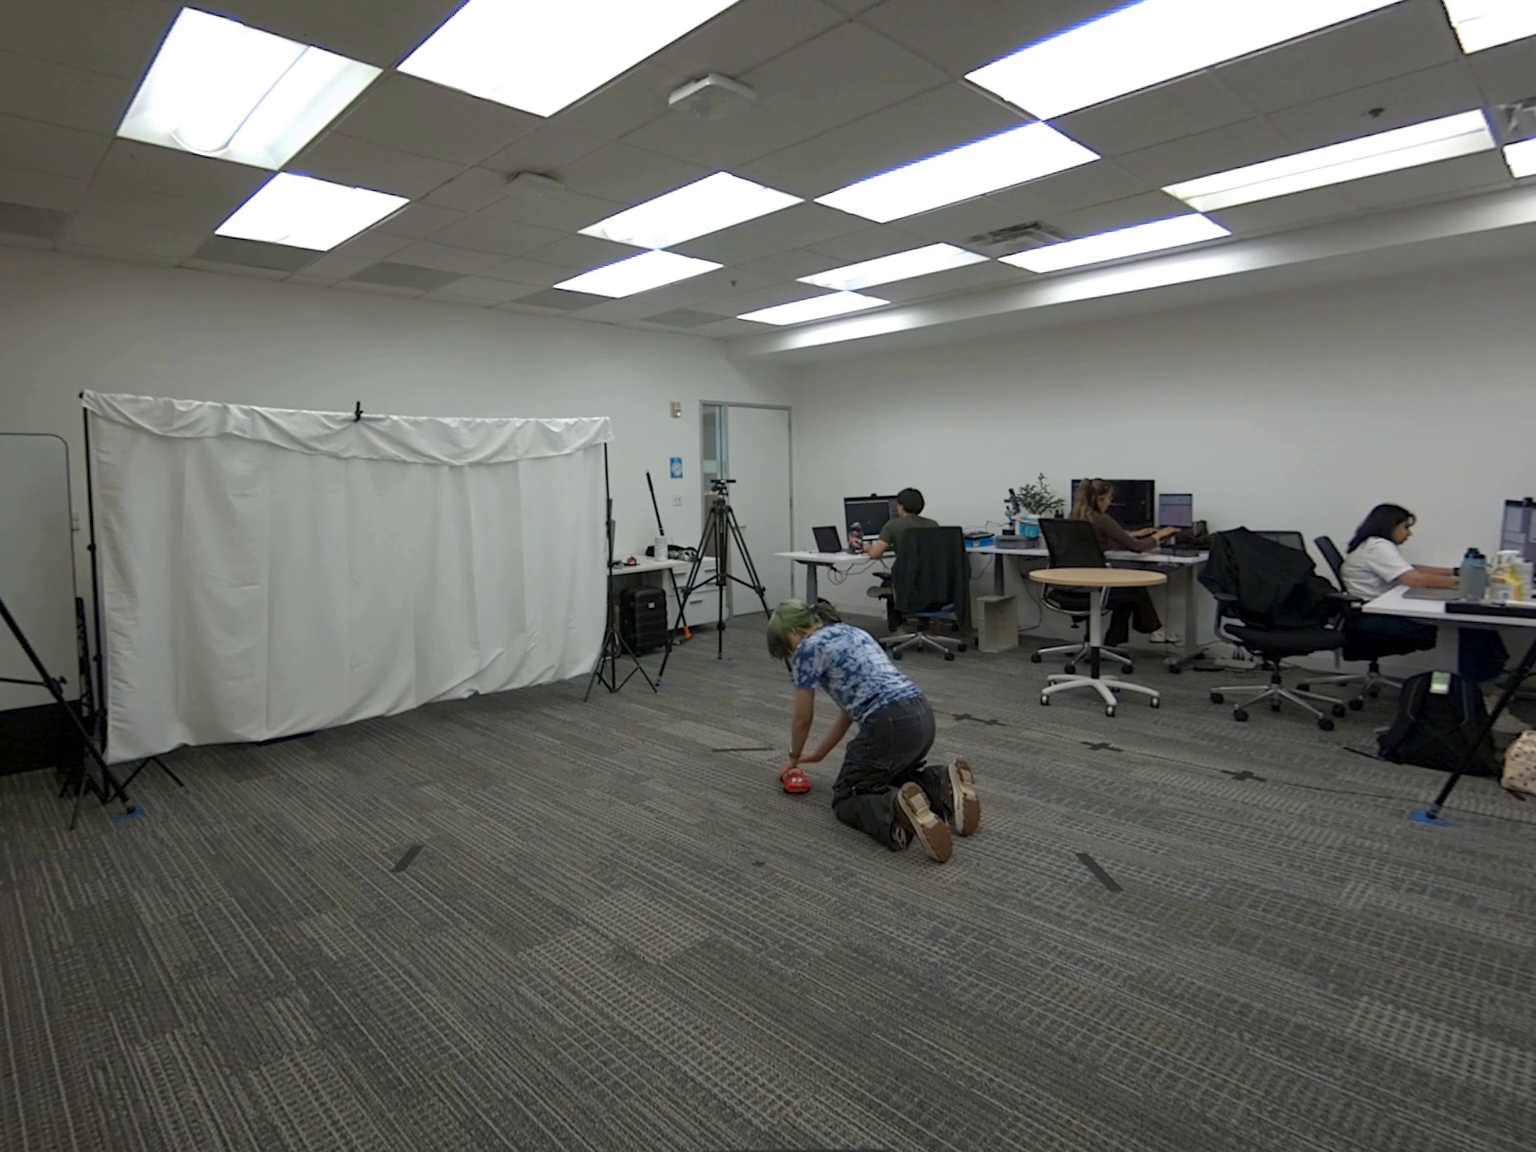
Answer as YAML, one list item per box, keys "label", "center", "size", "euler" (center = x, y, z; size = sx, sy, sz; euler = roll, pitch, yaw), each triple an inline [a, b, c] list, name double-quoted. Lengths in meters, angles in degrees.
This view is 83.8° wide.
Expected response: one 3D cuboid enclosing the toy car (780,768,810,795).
- label: "toy car"
  center: [0.126, 0.932, 3.876]
  size: [0.129, 0.084, 0.255]
  euler: [1, -5, -7]
